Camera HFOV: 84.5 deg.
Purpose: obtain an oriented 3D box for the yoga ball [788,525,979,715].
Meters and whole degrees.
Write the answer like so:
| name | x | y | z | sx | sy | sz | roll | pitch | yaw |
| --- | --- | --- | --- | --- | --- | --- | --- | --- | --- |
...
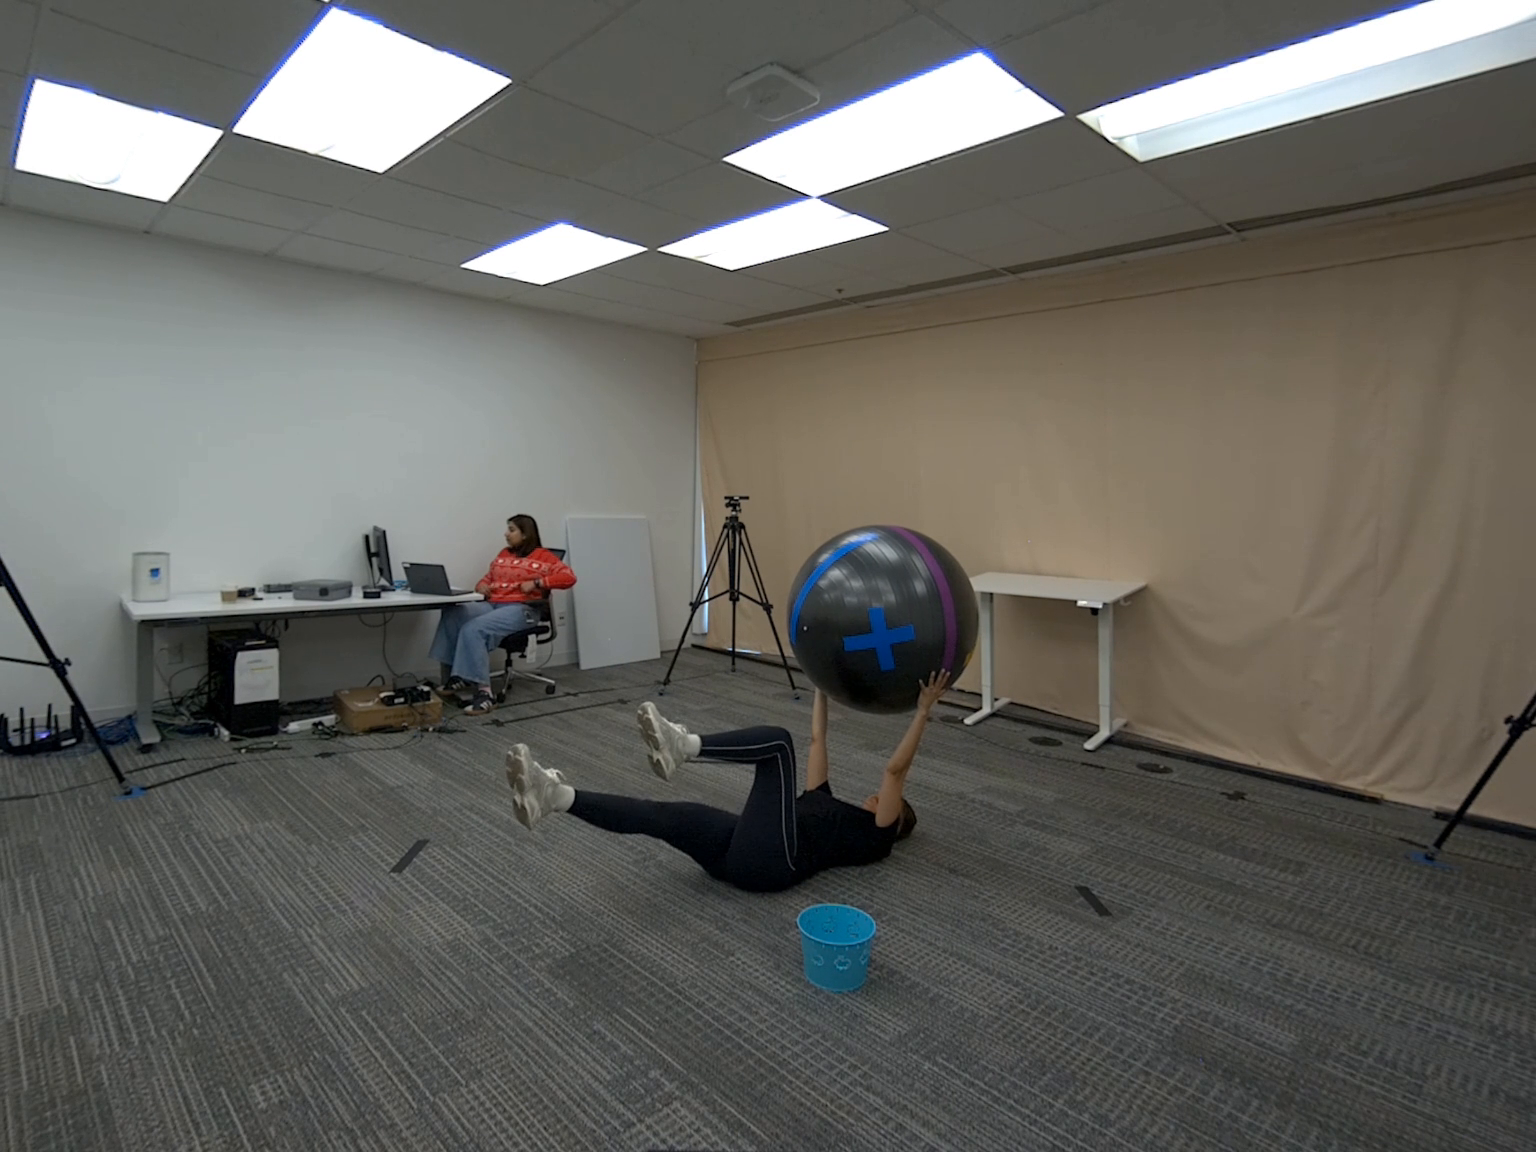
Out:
| name | x | y | z | sx | sy | sz | roll | pitch | yaw |
| --- | --- | --- | --- | --- | --- | --- | --- | --- | --- |
| yoga ball | 0.449 | 0.173 | 3.381 | 0.757 | 0.754 | 0.762 | 0 | 7 | -1 |
